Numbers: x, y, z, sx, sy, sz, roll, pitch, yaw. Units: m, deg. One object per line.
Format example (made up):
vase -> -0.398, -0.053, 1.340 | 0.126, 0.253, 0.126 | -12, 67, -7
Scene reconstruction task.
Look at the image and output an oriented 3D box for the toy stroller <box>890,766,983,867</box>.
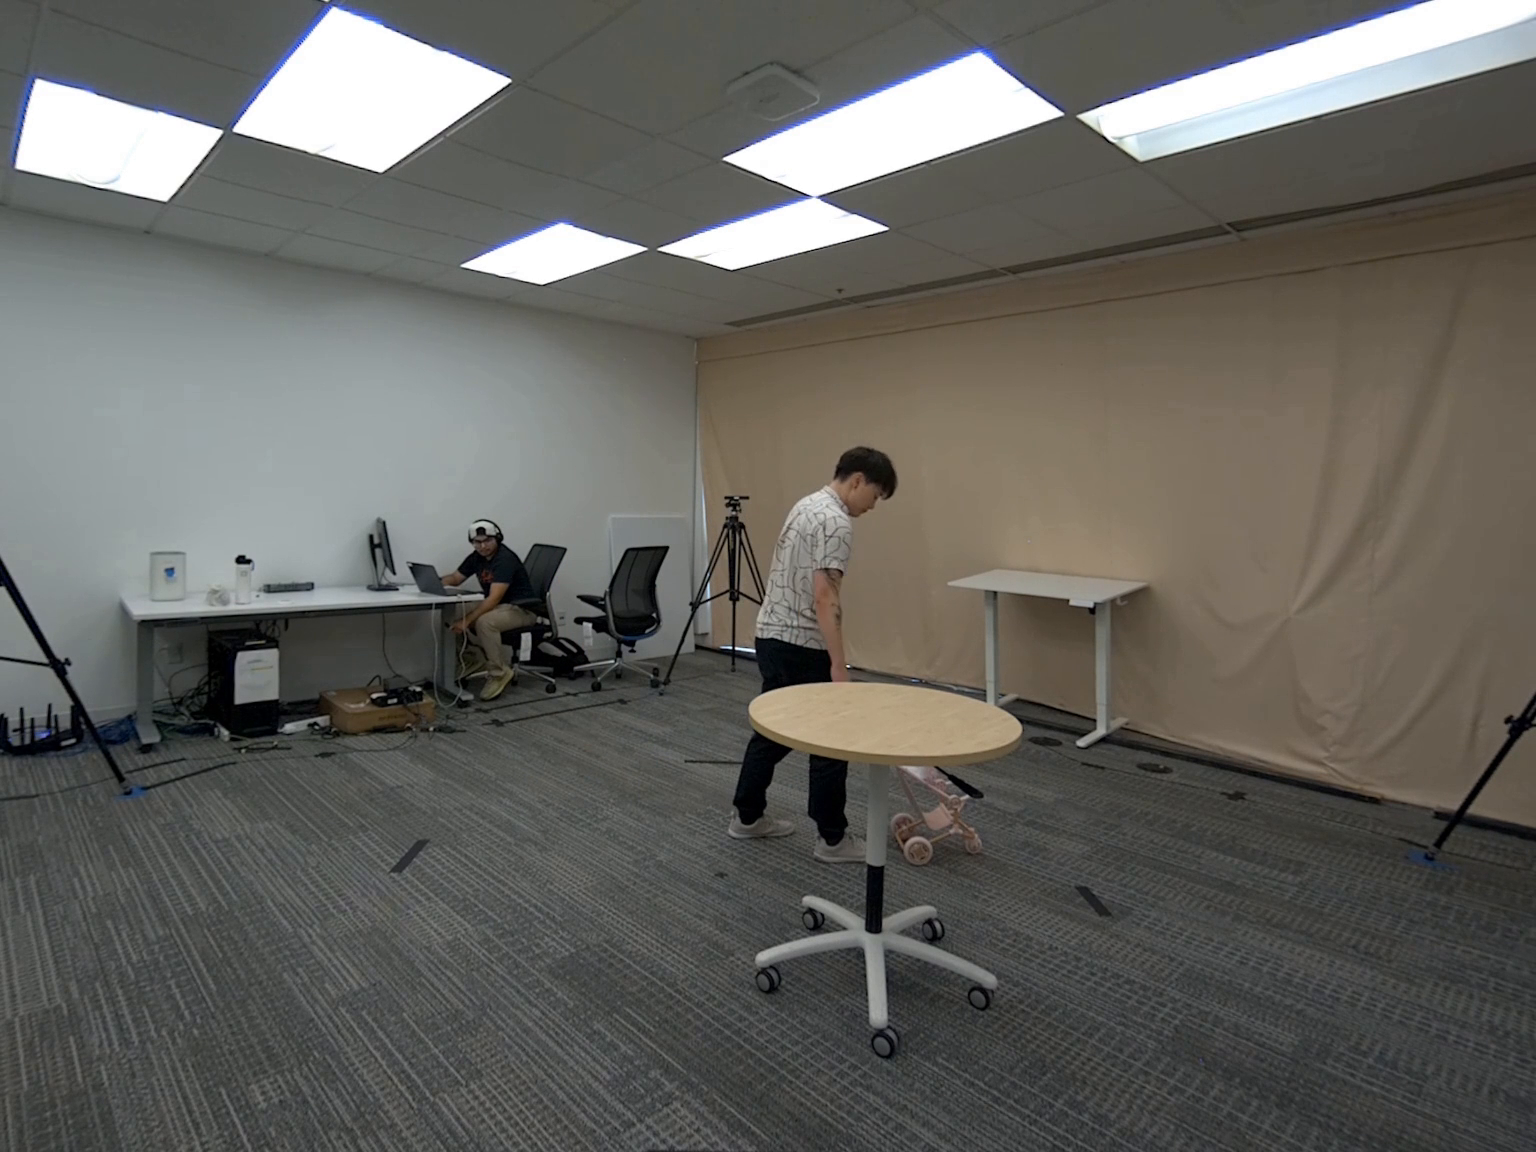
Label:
toy stroller -> 0.630, 0.879, 3.349 | 0.342, 0.534, 0.281 | -14, 3, 2
